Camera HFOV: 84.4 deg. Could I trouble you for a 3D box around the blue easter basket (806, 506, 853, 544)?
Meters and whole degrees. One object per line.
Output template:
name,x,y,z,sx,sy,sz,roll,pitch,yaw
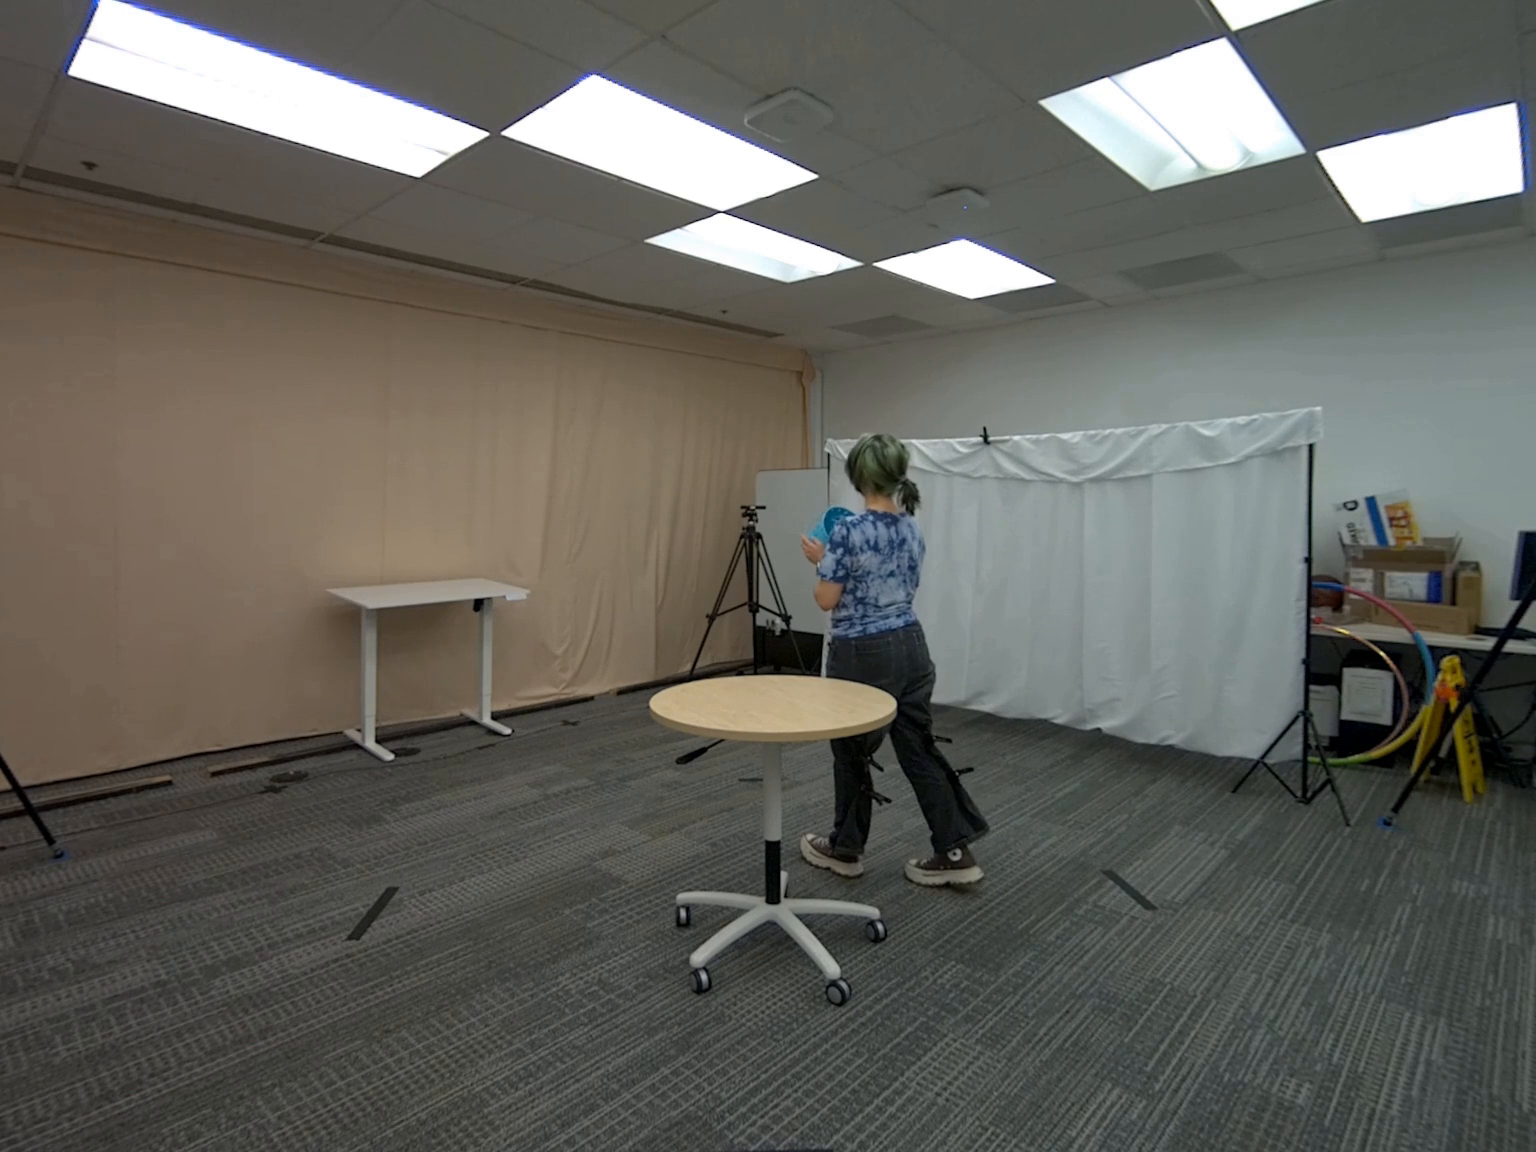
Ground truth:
blue easter basket,0.276,-0.142,3.338,0.236,0.248,0.158,-3,-24,-37
